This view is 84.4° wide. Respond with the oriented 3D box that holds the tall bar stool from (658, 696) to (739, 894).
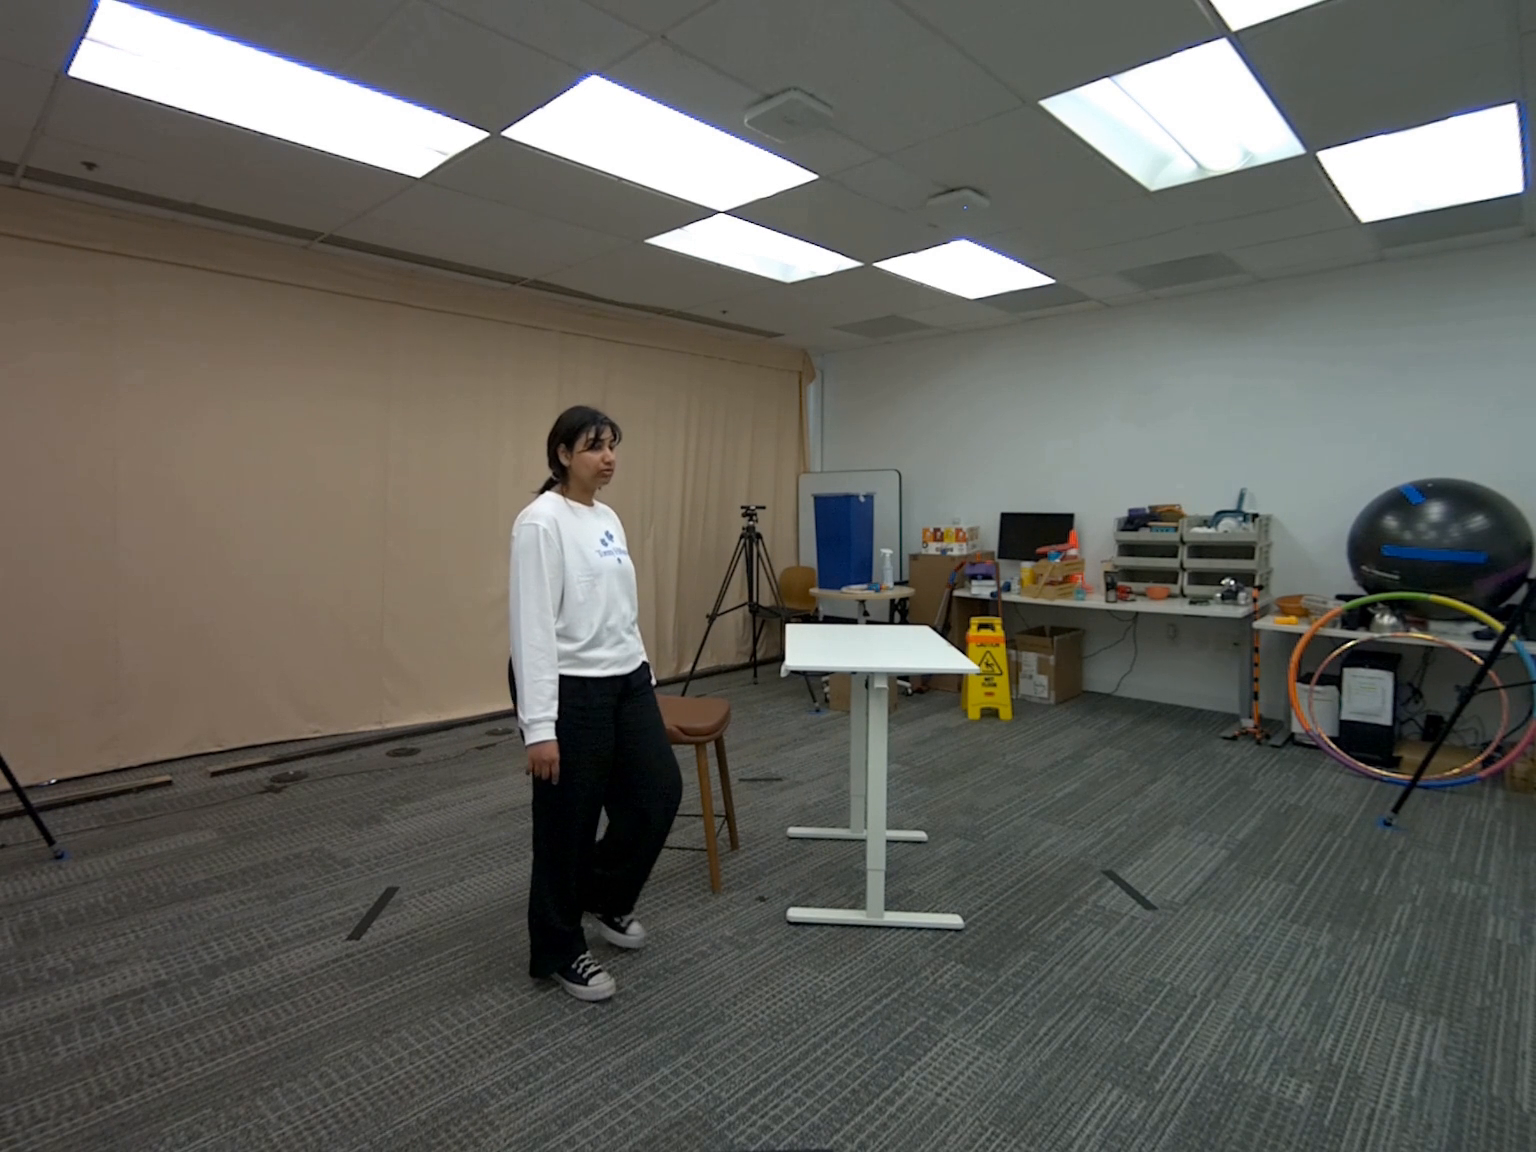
[{"bbox_3d":[-0.371,0.691,3.245,0.474,0.888,0.452,-2,3,11],"label":"tall bar stool"}]
